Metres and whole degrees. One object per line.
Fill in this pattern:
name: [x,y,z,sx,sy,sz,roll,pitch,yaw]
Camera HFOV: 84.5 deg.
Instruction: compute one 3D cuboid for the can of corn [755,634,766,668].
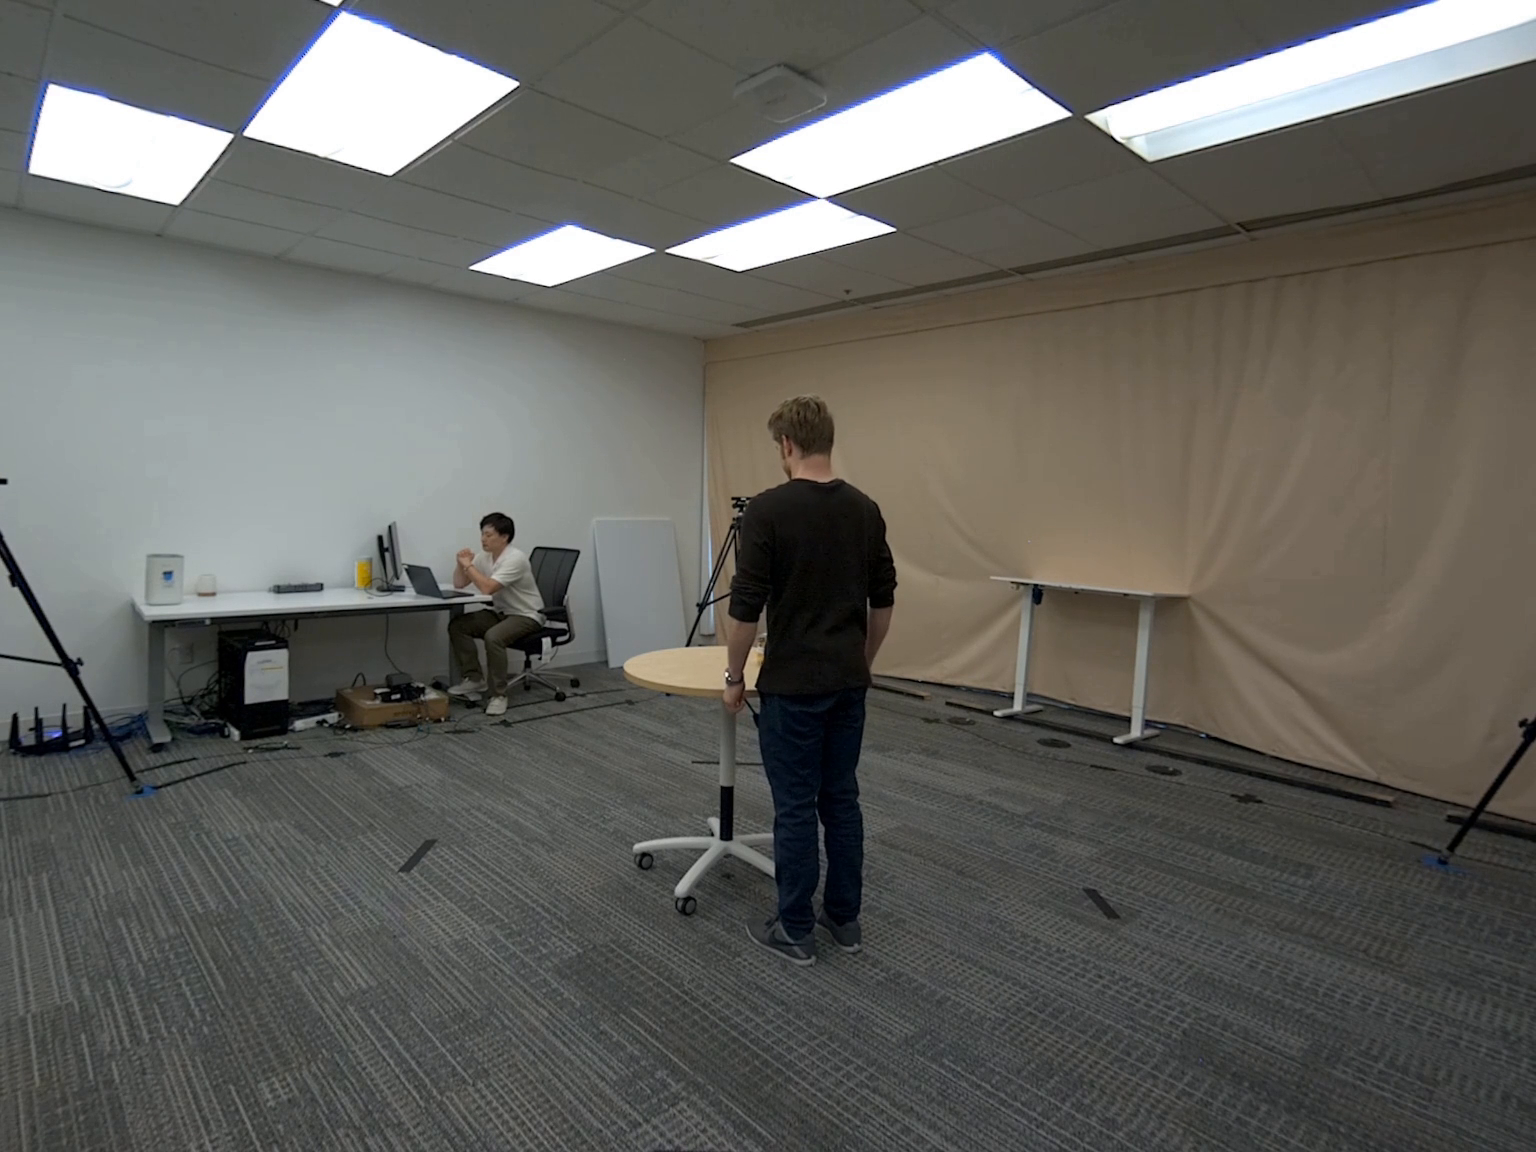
can of corn: [-0.006,0.272,3.079,0.074,0.111,0.074,1,3,-1]
